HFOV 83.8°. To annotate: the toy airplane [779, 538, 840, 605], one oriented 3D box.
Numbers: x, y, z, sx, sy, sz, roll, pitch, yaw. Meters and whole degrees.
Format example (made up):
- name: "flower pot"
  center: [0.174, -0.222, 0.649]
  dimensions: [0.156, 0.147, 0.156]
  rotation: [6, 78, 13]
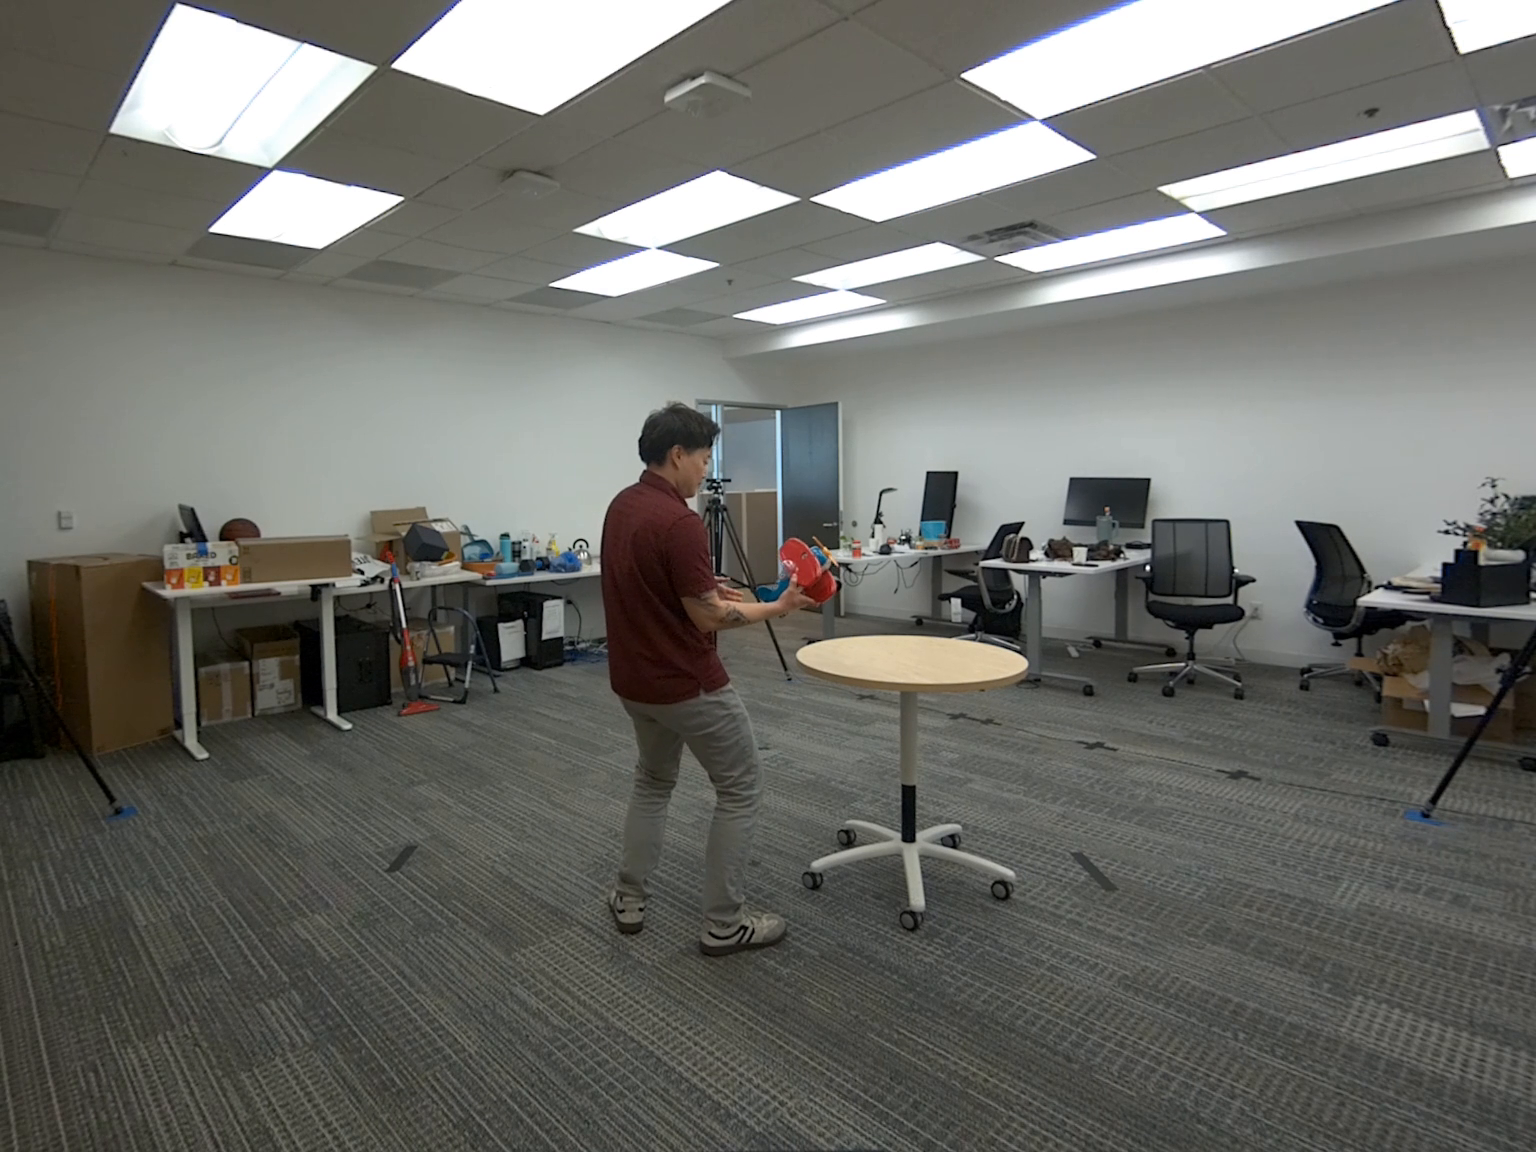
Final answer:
- name: "toy airplane"
  center: [0.104, 0.023, 2.638]
  dimensions: [0.260, 0.151, 0.259]
  rotation: [14, 52, 46]
